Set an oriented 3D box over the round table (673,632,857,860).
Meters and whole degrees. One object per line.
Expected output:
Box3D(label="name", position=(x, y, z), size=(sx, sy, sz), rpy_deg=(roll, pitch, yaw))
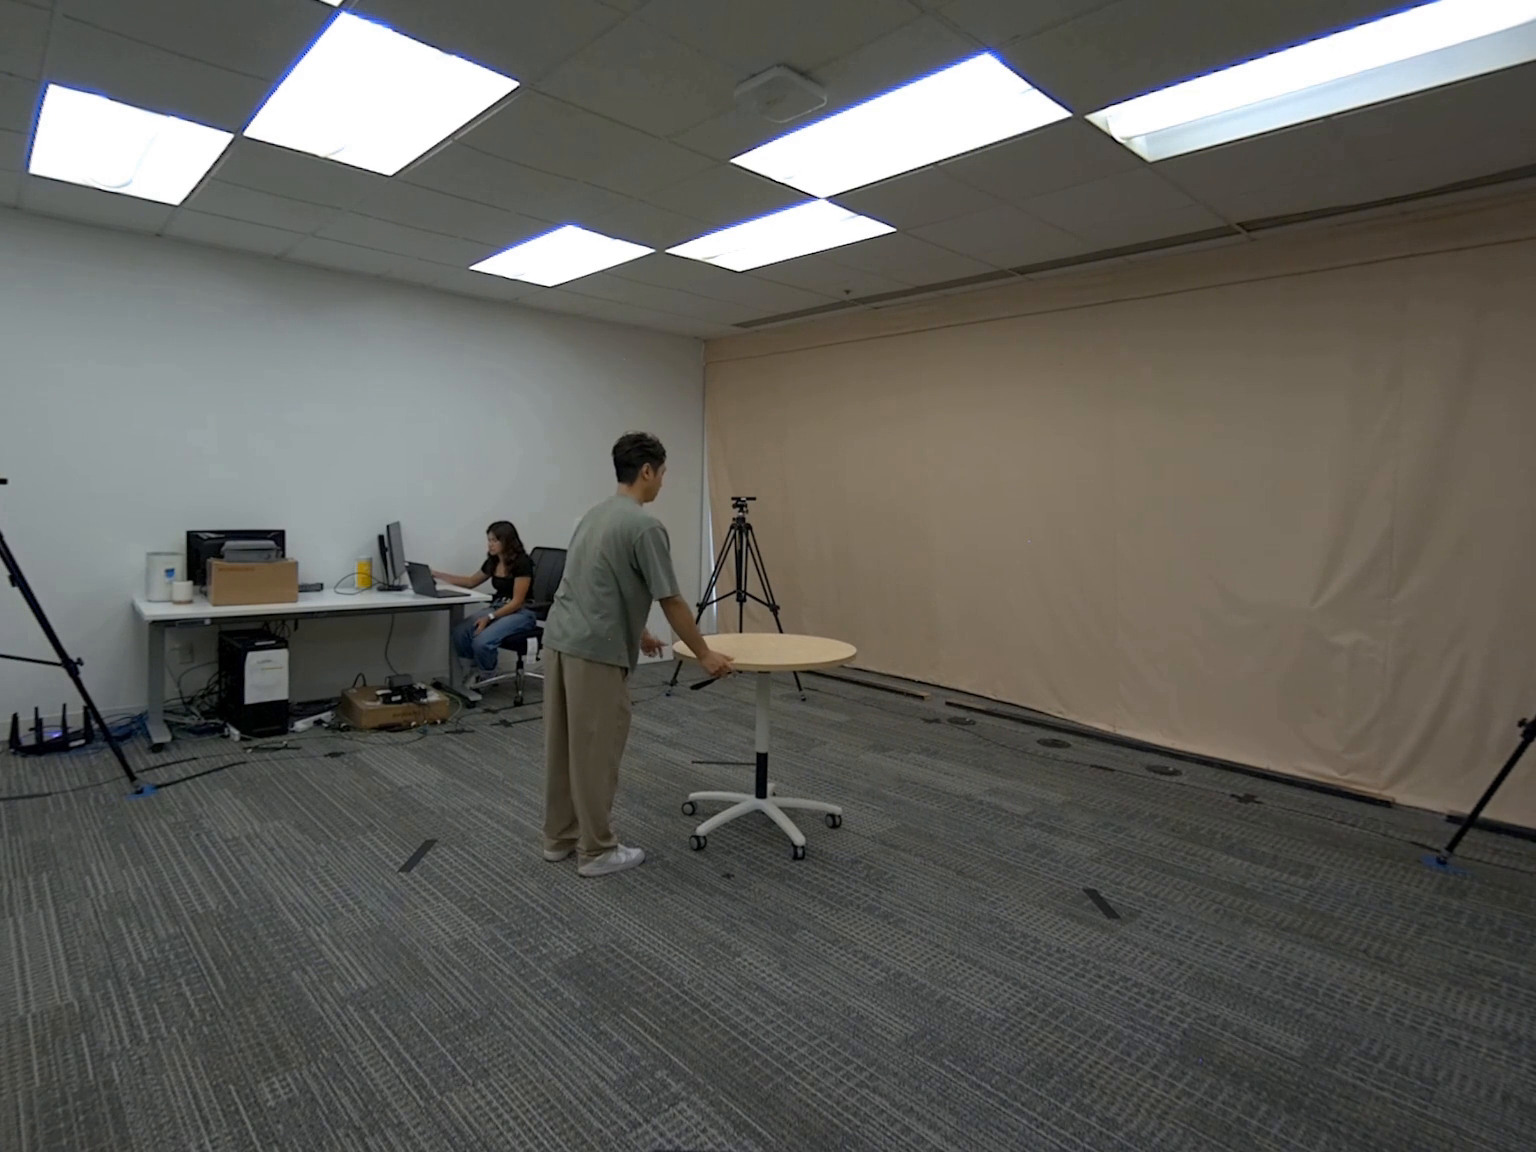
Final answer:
Box3D(label="round table", position=(-0.024, 0.683, 3.530), size=(0.784, 0.785, 0.787), rpy_deg=(1, 3, -1))
